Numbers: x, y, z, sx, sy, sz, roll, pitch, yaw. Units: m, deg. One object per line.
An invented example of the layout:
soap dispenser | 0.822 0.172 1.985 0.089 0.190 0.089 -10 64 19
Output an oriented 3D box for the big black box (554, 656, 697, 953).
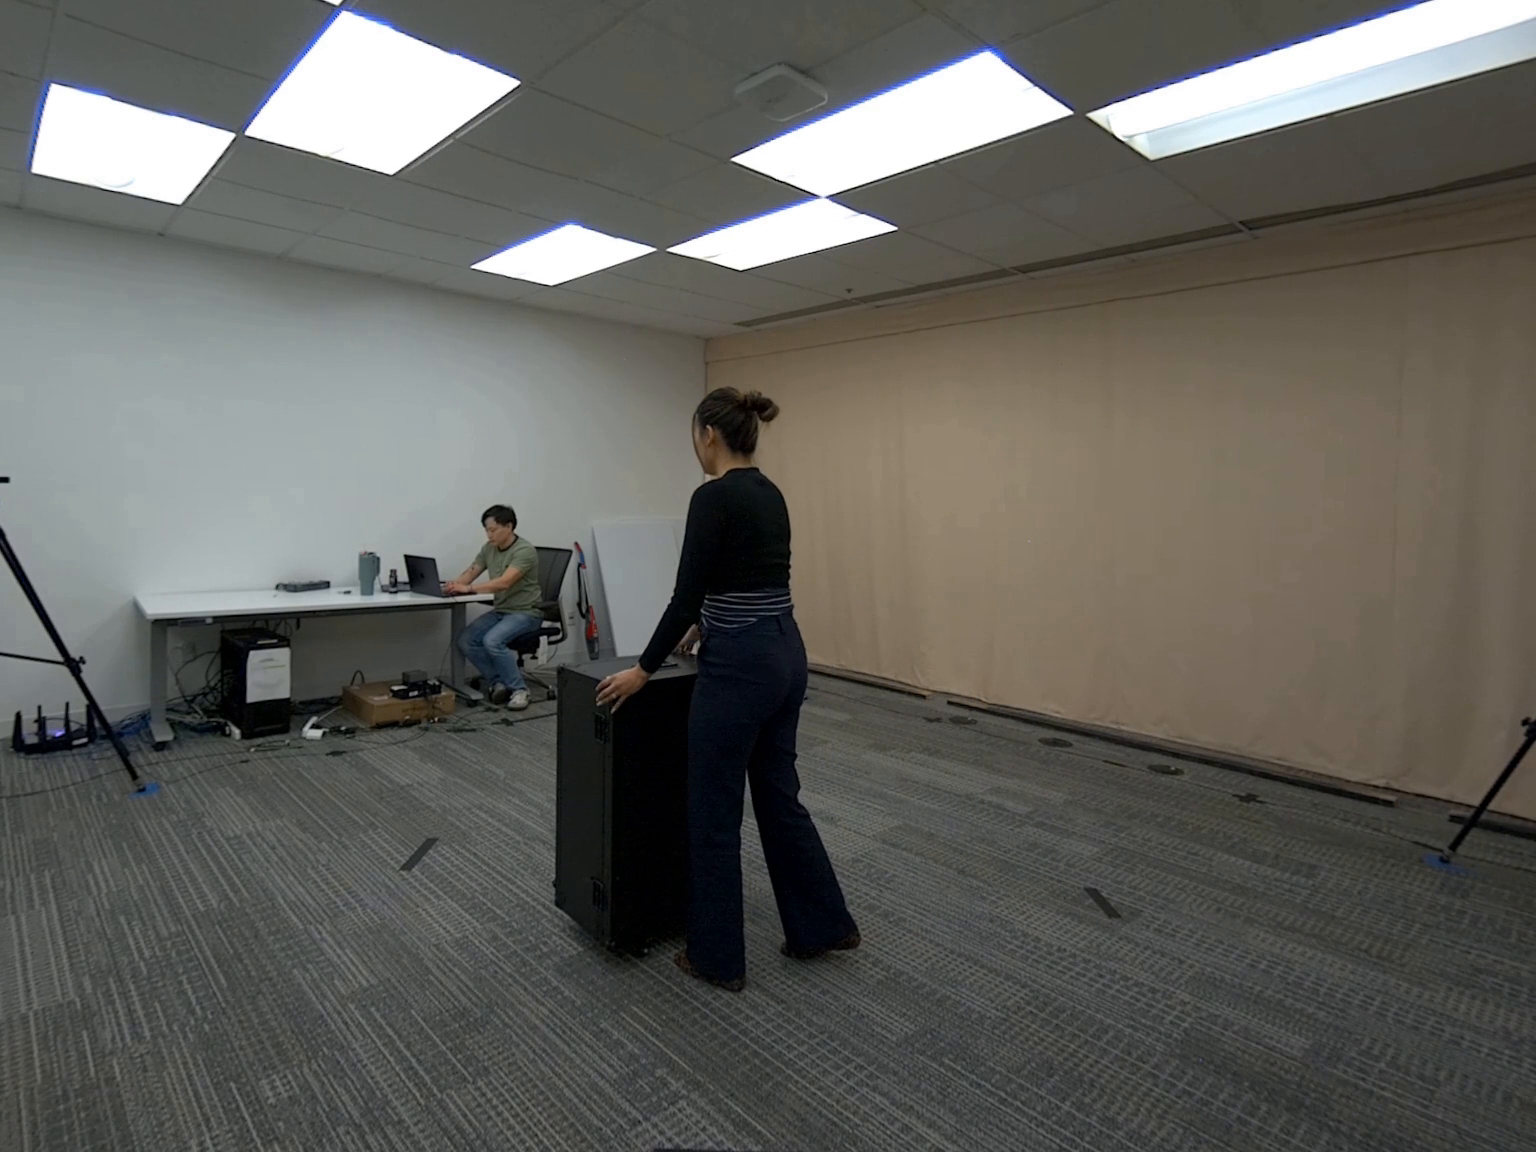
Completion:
big black box | -0.394 0.713 2.695 0.509 0.860 0.406 -1 4 -38
